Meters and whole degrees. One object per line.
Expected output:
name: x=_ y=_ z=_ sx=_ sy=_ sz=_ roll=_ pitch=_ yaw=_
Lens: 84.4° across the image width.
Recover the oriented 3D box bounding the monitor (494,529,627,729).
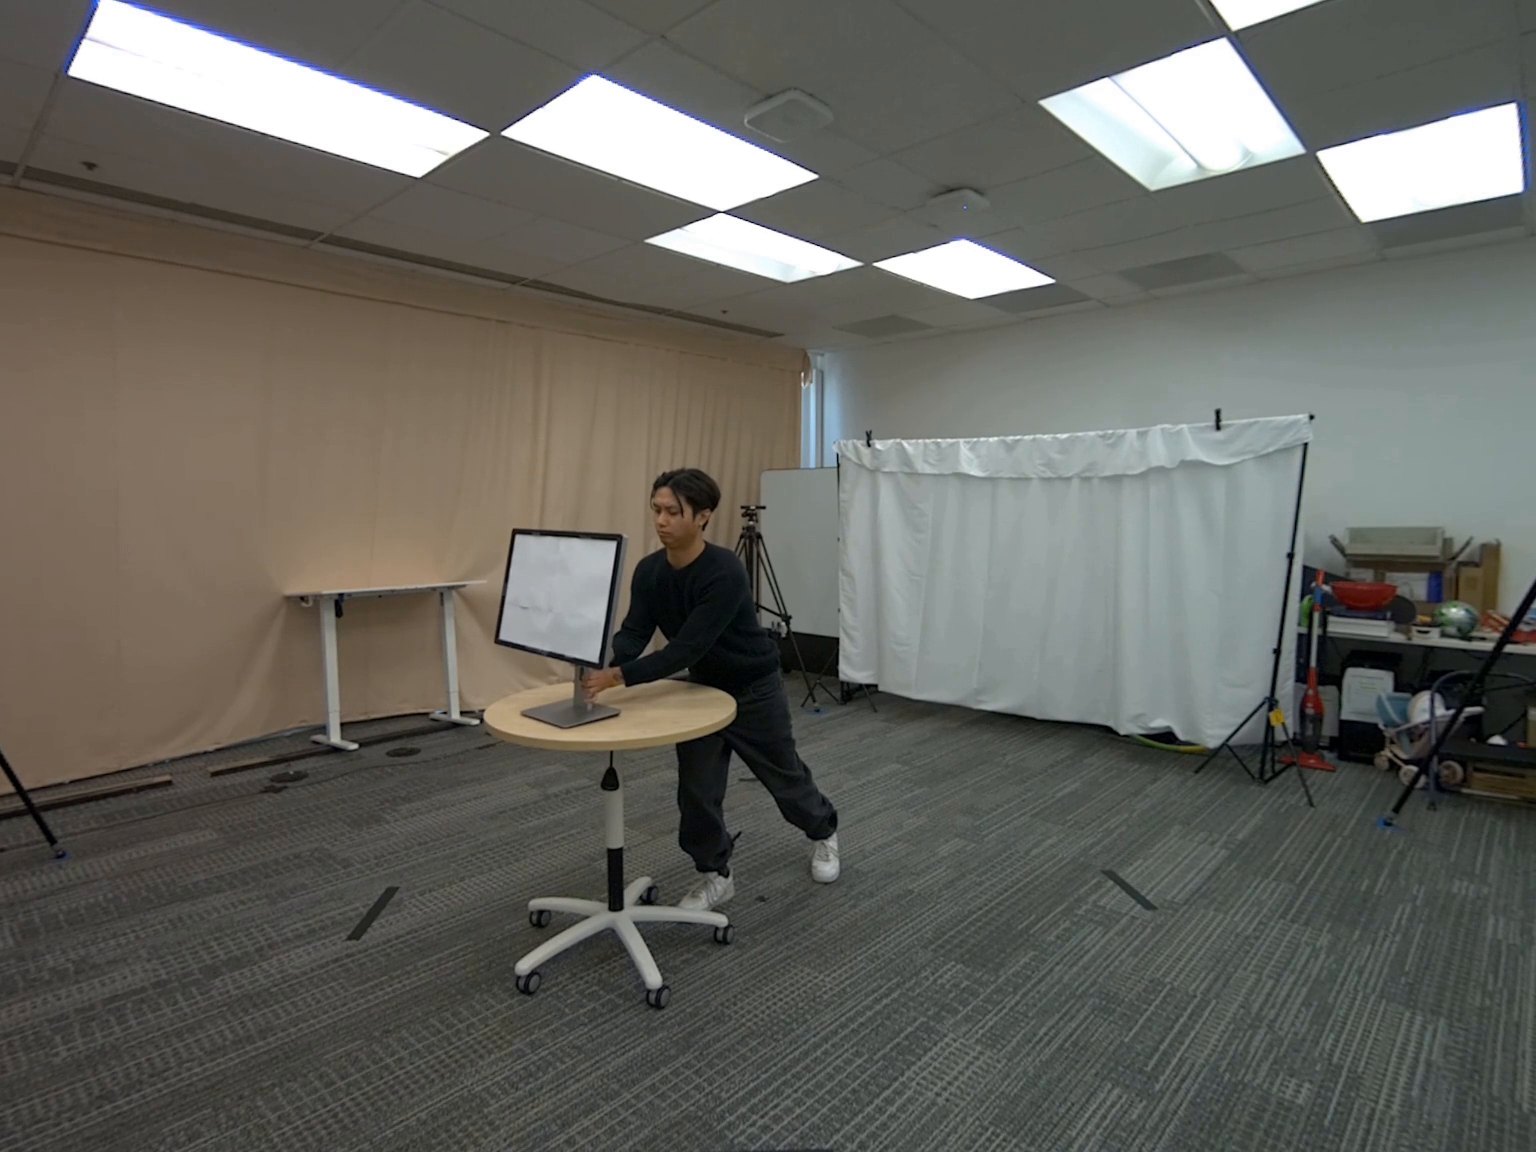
monitor: x=-0.588 y=0.138 z=2.460 sx=0.548 sy=0.513 sz=0.170 roll=6 pitch=12 yaw=42
